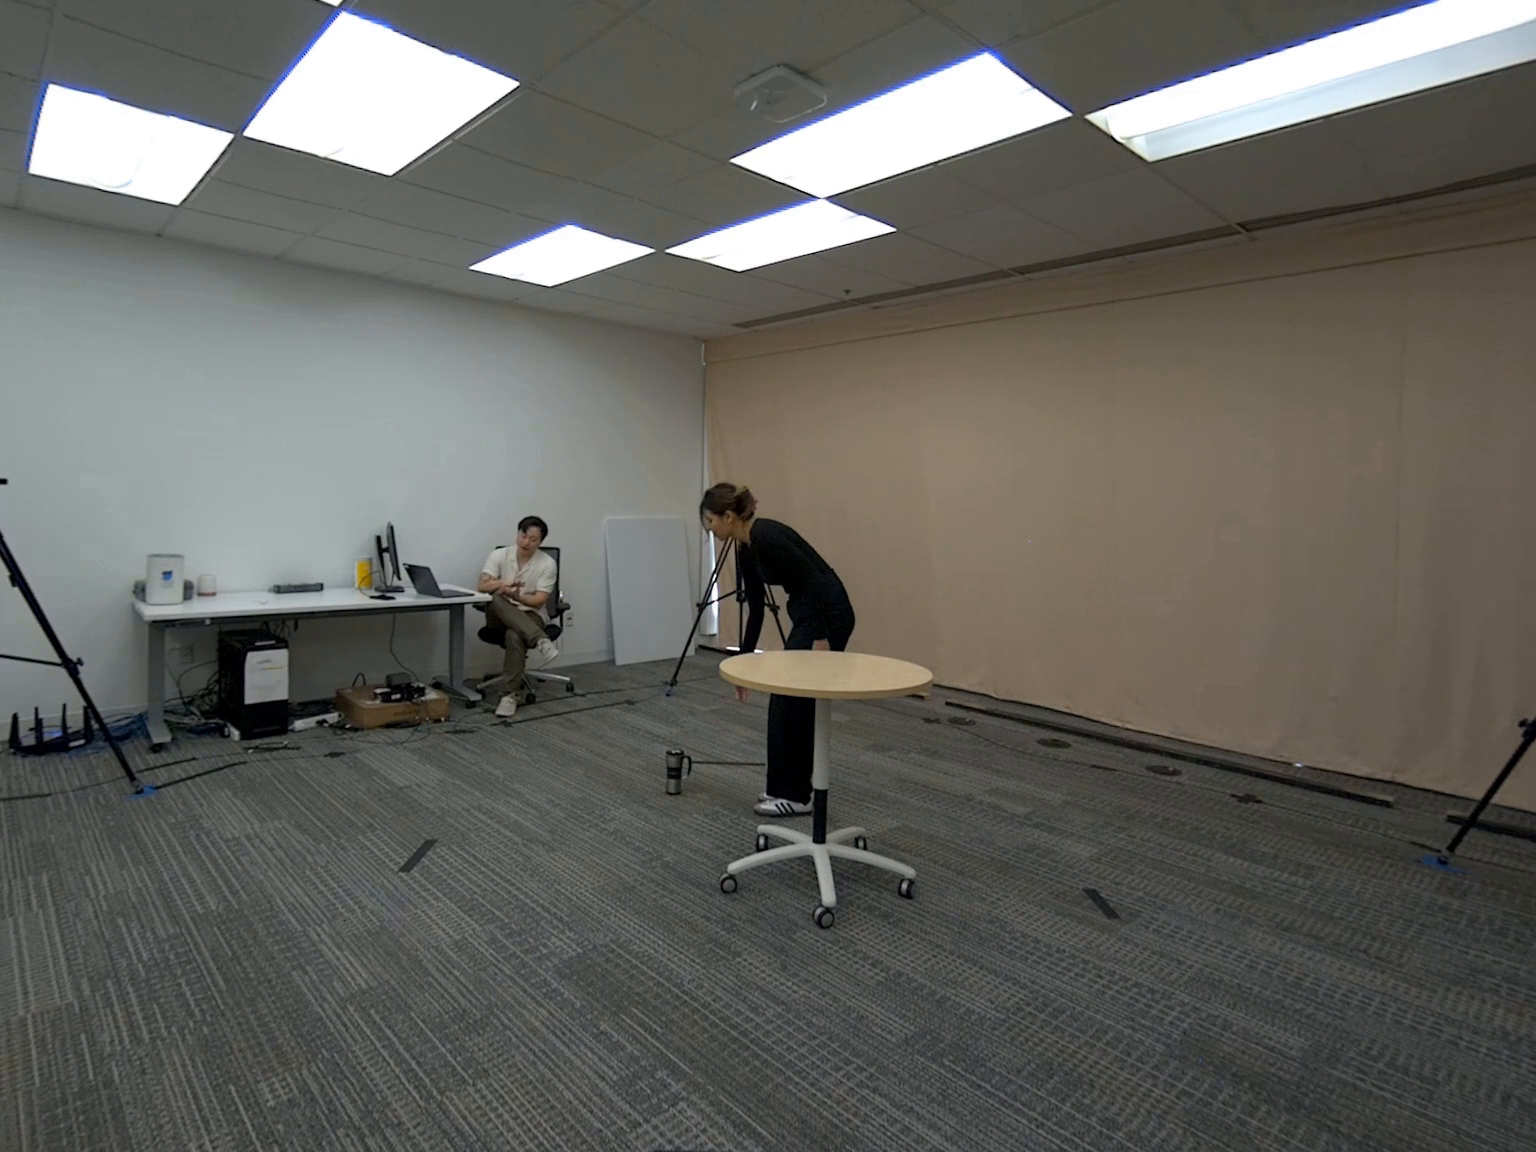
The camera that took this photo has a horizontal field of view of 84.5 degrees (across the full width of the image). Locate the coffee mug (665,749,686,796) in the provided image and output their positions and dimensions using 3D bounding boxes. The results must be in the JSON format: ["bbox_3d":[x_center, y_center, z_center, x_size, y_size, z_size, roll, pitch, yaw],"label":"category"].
[{"bbox_3d":[-0.436,0.921,3.956,0.086,0.203,0.125,5,-4,-40],"label":"coffee mug"}]
